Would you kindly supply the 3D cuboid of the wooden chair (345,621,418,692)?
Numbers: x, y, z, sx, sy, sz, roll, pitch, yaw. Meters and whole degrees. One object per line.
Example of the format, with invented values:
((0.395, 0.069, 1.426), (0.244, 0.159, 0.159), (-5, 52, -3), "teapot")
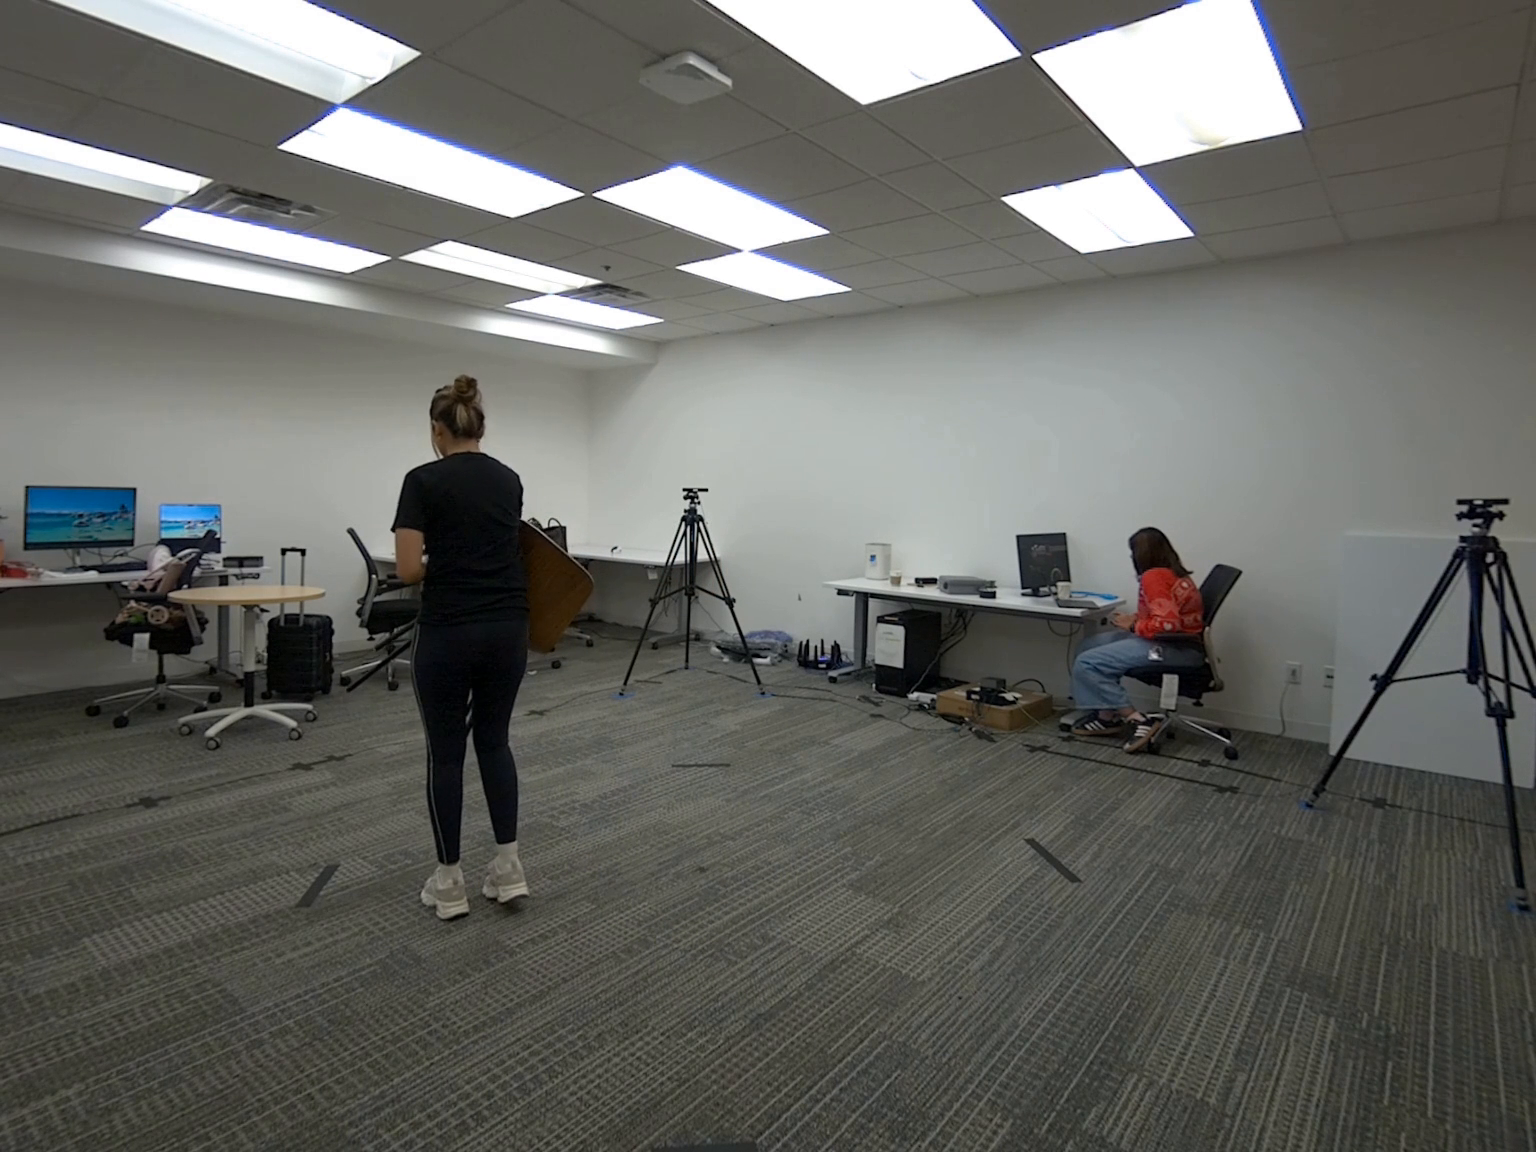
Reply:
((-1.045, 0.155, 3.136), (0.467, 0.877, 0.535), (40, 5, -17), "wooden chair")
